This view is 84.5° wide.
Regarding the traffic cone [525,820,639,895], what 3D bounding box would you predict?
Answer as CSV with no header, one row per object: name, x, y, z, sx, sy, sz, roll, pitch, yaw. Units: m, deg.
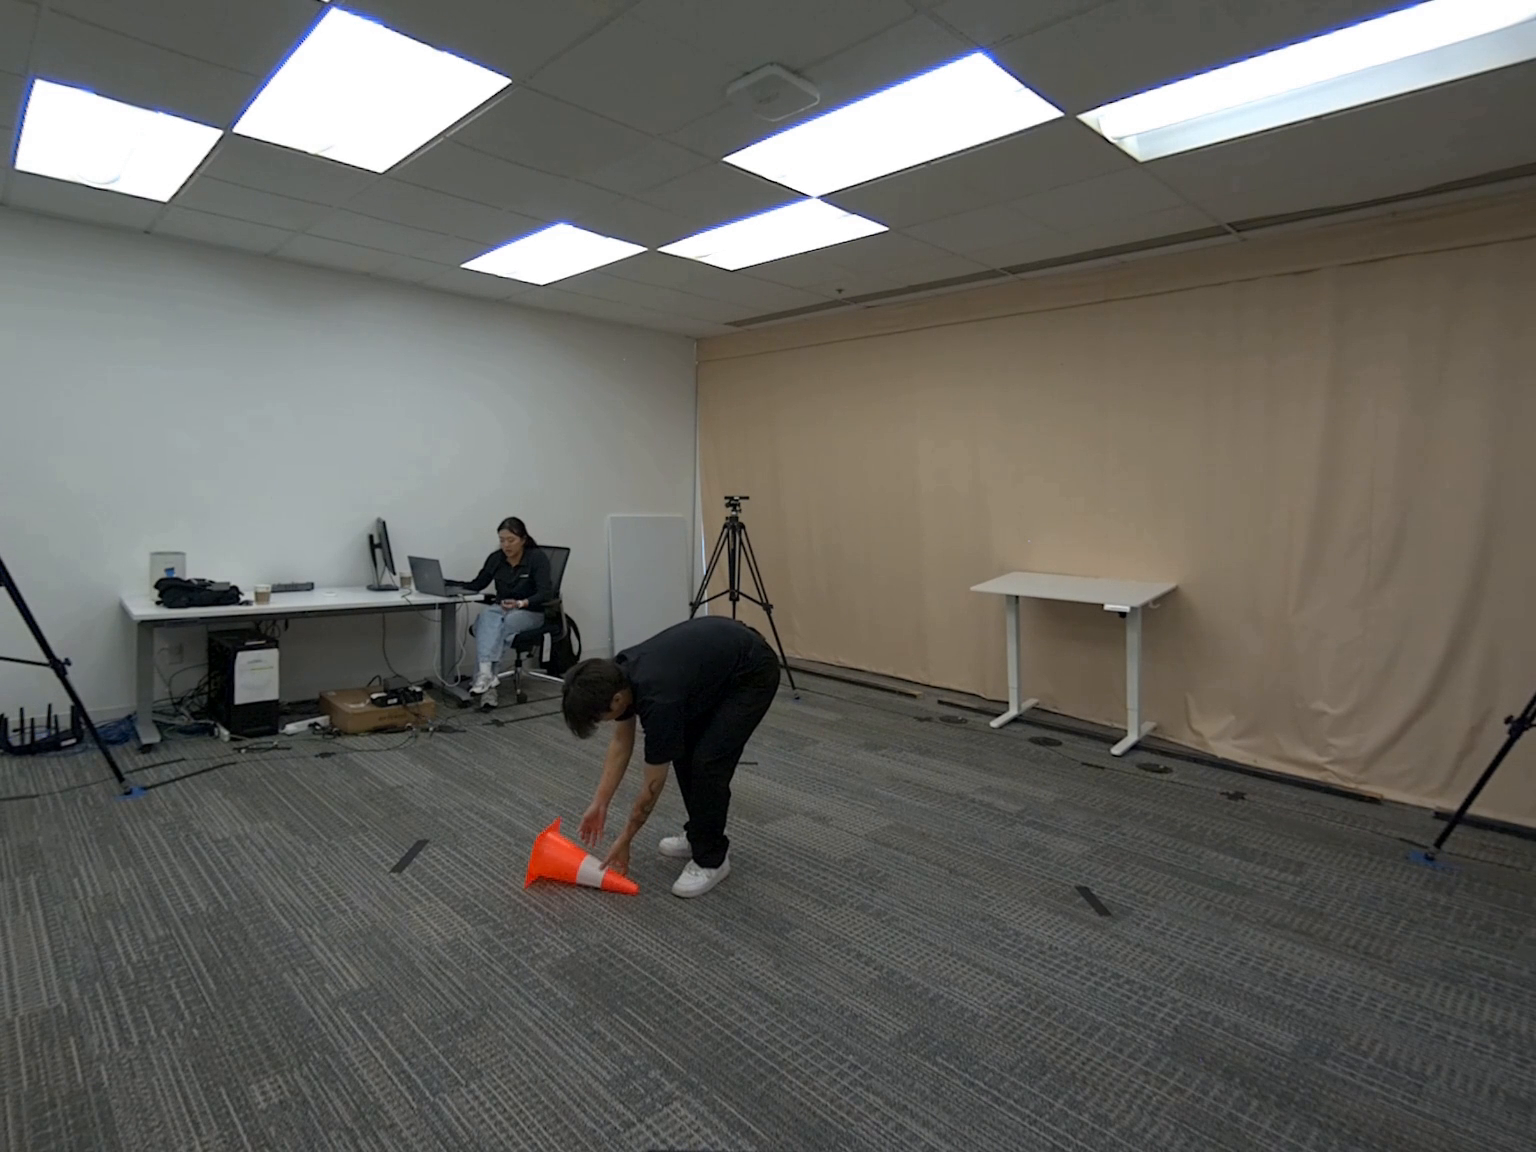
traffic cone,-0.634,1.040,3.001,0.388,0.202,0.203,16,9,13
